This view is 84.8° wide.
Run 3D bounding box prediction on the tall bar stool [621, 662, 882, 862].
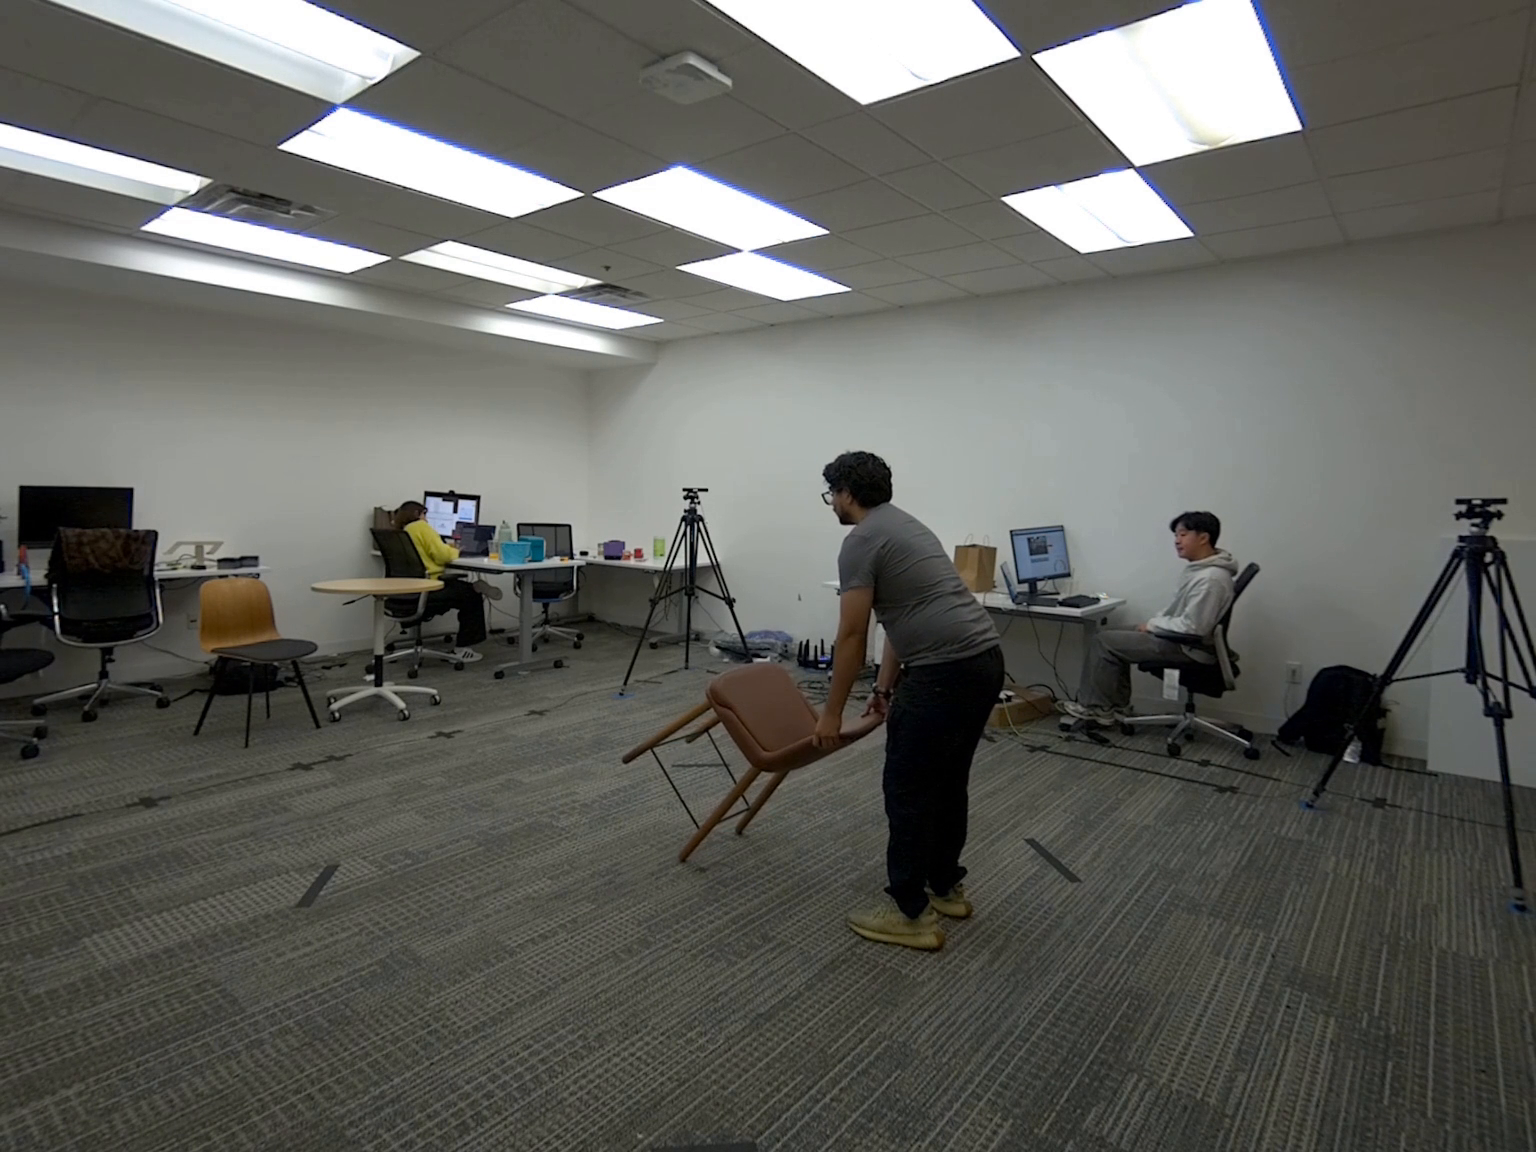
[{"bbox_3d":[-0.075,0.611,3.181,0.891,0.481,0.443,-44,-24,30],"label":"tall bar stool"}]
